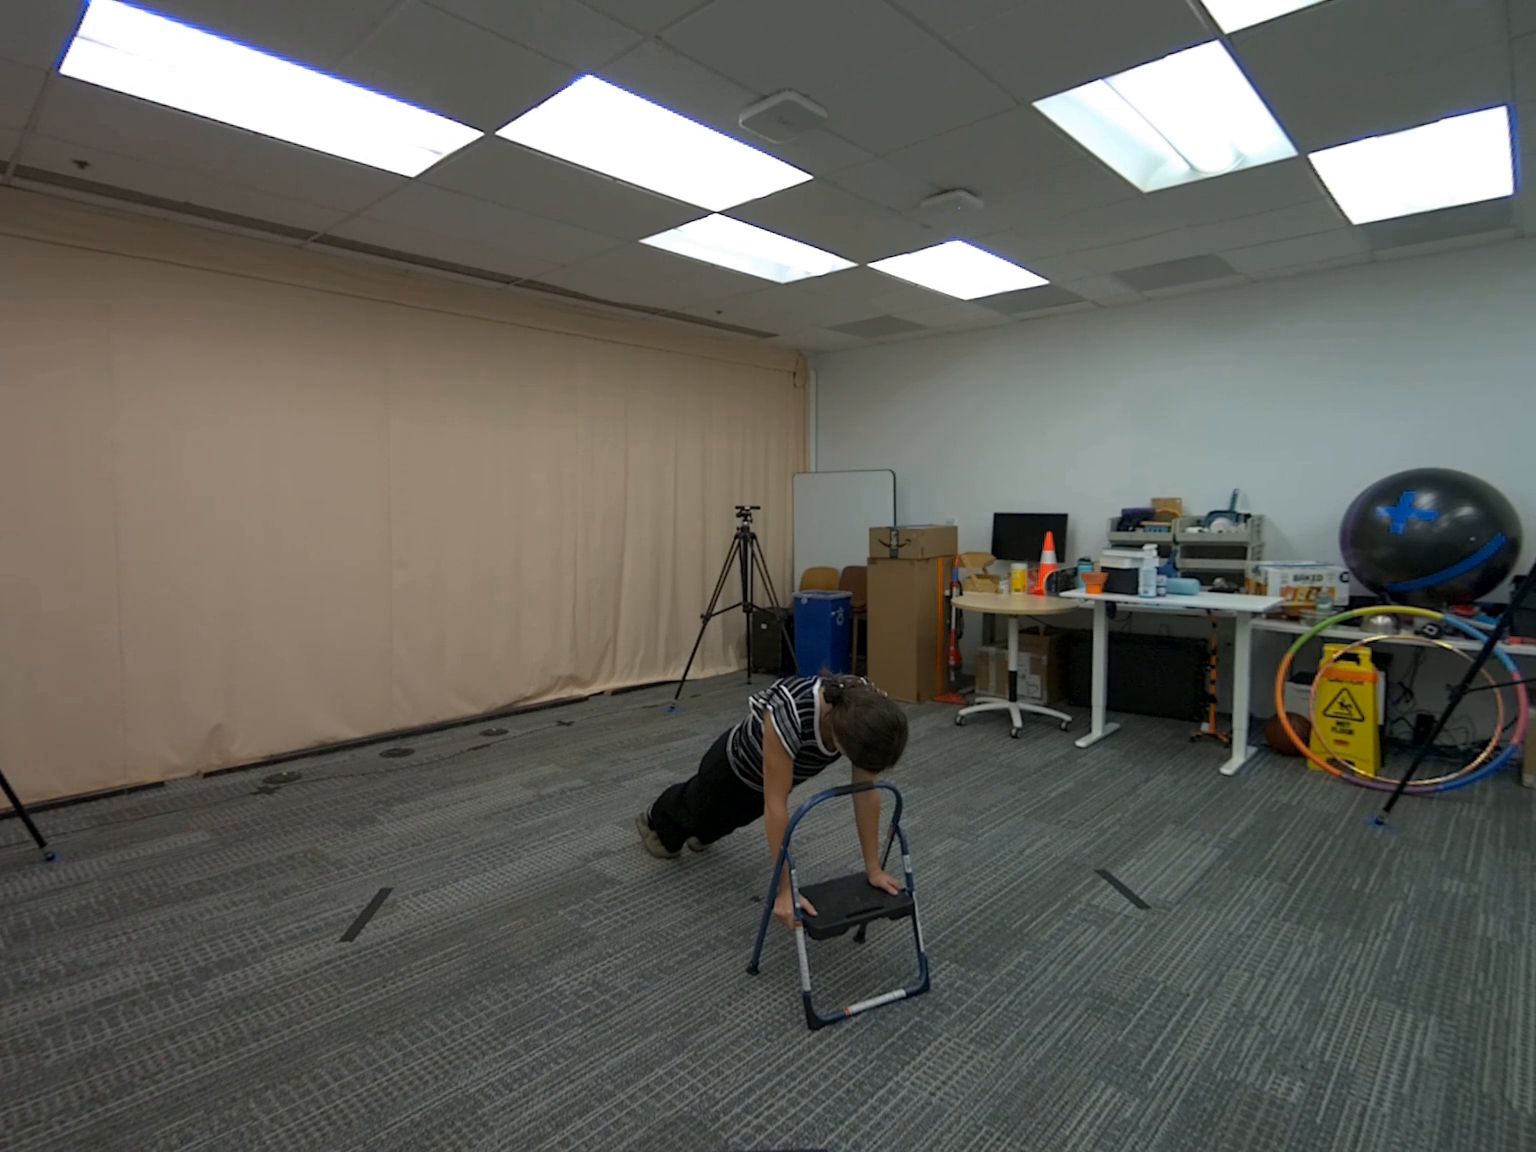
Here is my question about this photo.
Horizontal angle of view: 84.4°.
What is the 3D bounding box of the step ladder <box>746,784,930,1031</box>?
[{"bbox_3d":[0.212,0.887,2.454,0.419,0.604,0.359,-2,5,-30],"label":"step ladder"}]
